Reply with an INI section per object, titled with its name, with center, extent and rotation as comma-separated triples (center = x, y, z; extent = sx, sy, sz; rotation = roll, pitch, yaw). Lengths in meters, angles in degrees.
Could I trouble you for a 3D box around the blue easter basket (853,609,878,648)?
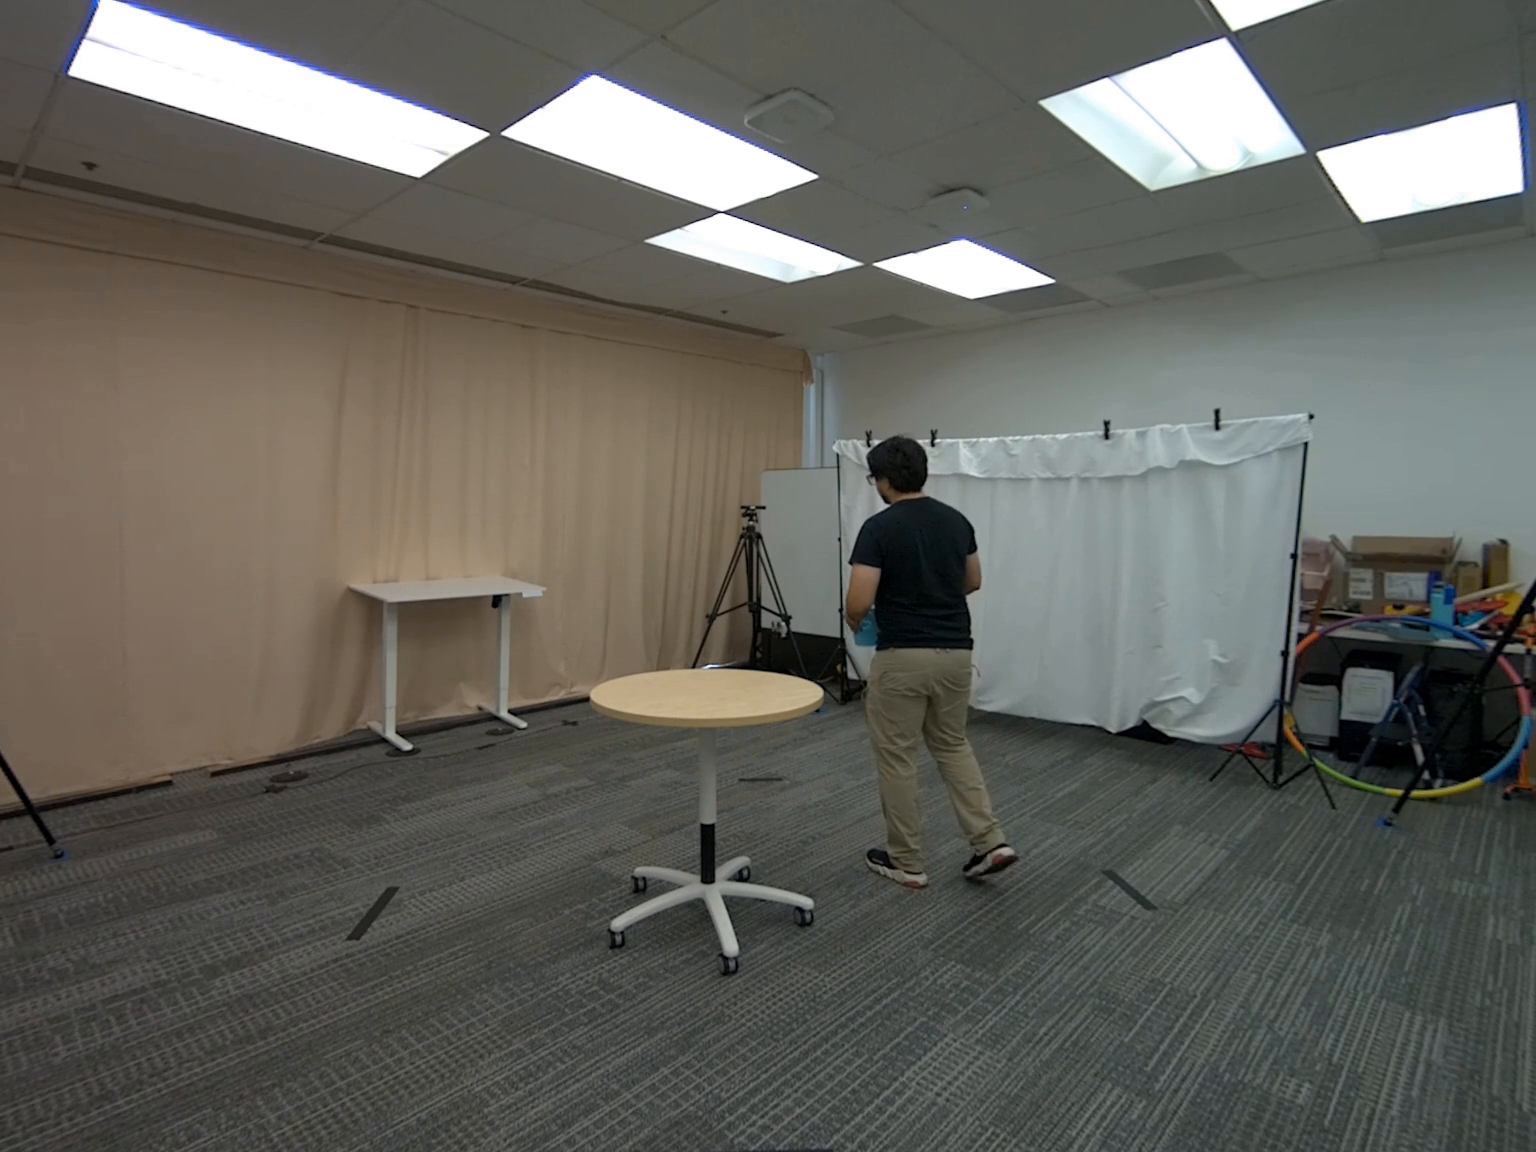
[blue easter basket]
center = 0.457, 0.196, 3.398
extent = 0.243, 0.155, 0.244
rotation = -6, 3, -2
